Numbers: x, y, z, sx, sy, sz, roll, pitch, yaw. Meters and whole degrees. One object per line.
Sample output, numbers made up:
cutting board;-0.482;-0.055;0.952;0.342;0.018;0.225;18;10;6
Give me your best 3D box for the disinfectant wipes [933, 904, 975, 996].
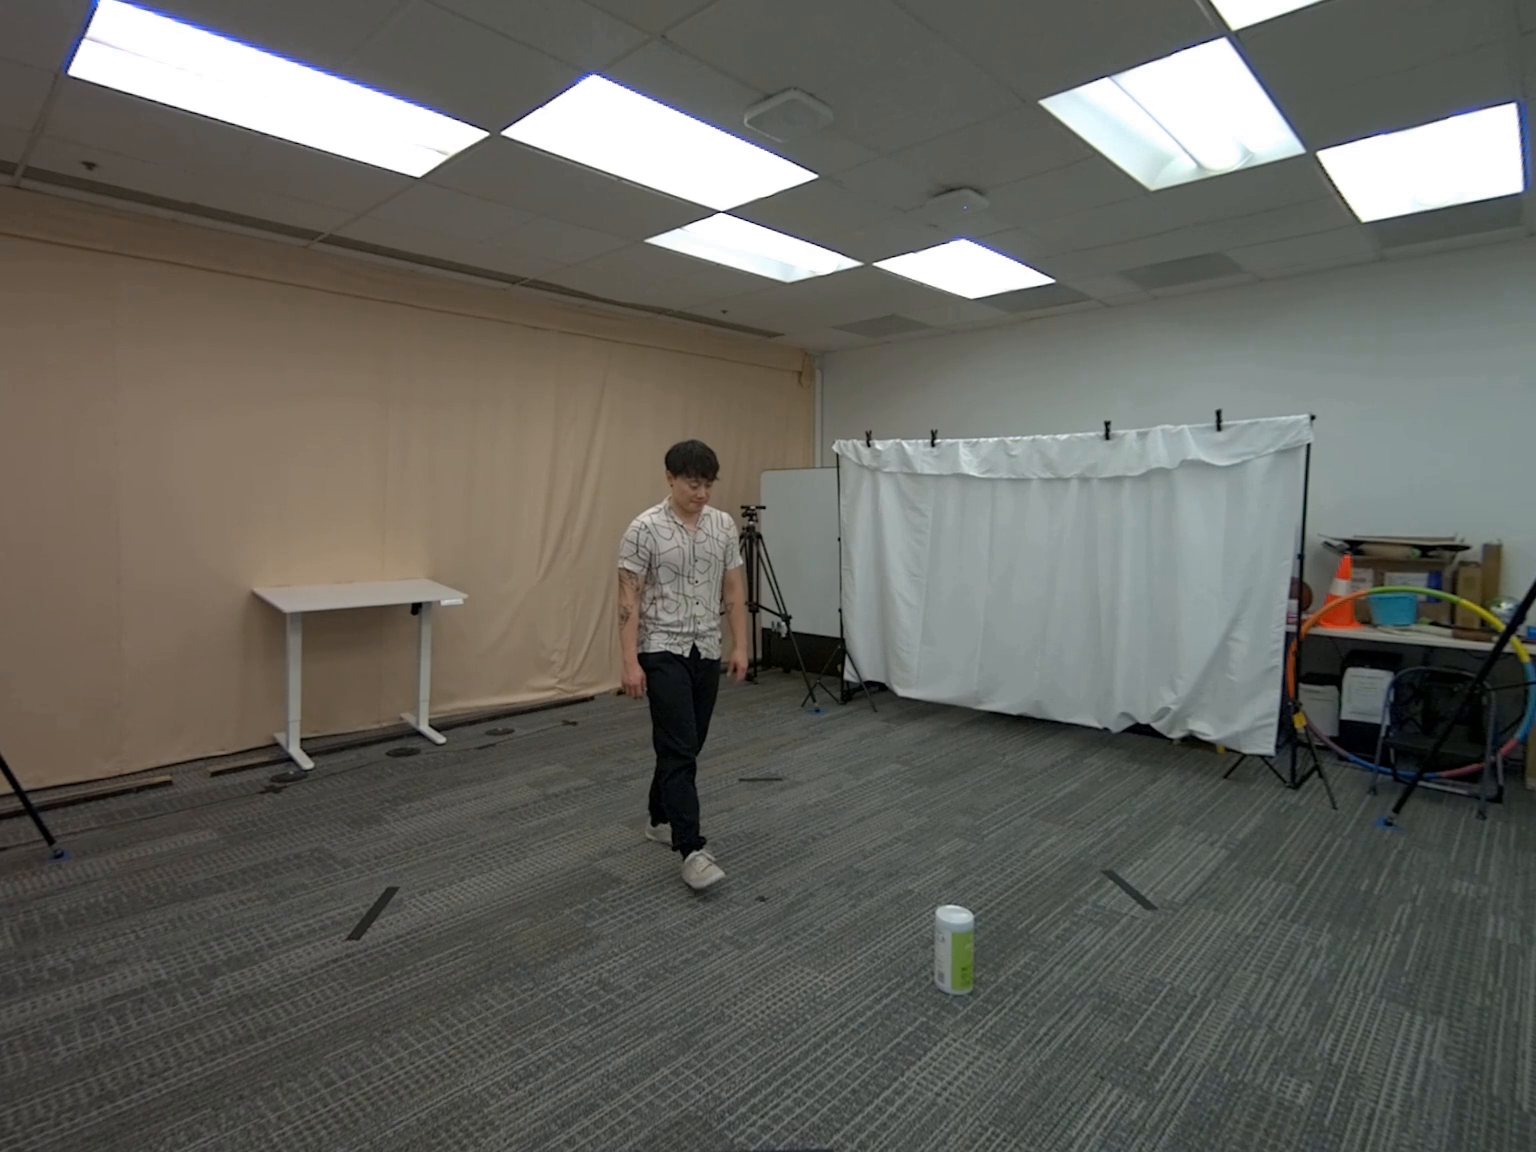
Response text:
disinfectant wipes;0.544;1.086;2.430;0.118;0.217;0.118;0;2;-2
